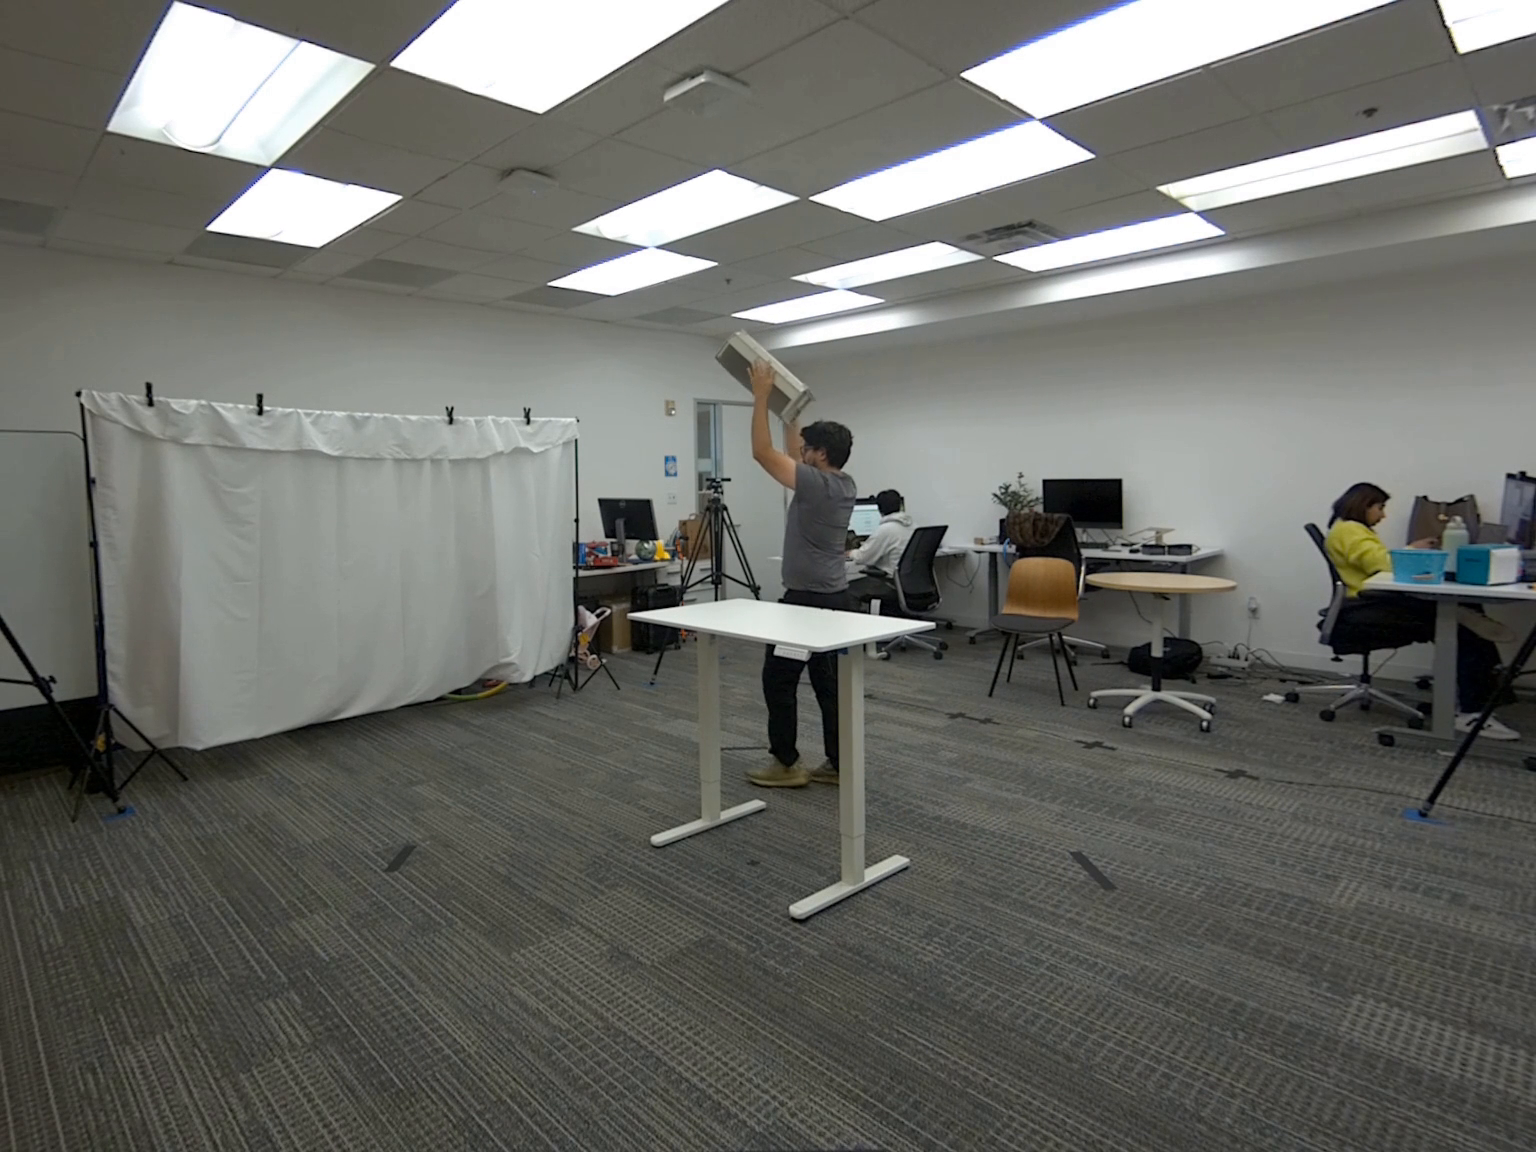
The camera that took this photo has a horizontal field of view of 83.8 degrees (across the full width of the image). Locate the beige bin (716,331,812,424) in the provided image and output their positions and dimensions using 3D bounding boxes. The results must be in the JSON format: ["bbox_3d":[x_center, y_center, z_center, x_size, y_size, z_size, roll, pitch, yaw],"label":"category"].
[{"bbox_3d":[-0.008,-0.906,3.940,0.428,0.189,0.373,43,8,8],"label":"beige bin"}]
